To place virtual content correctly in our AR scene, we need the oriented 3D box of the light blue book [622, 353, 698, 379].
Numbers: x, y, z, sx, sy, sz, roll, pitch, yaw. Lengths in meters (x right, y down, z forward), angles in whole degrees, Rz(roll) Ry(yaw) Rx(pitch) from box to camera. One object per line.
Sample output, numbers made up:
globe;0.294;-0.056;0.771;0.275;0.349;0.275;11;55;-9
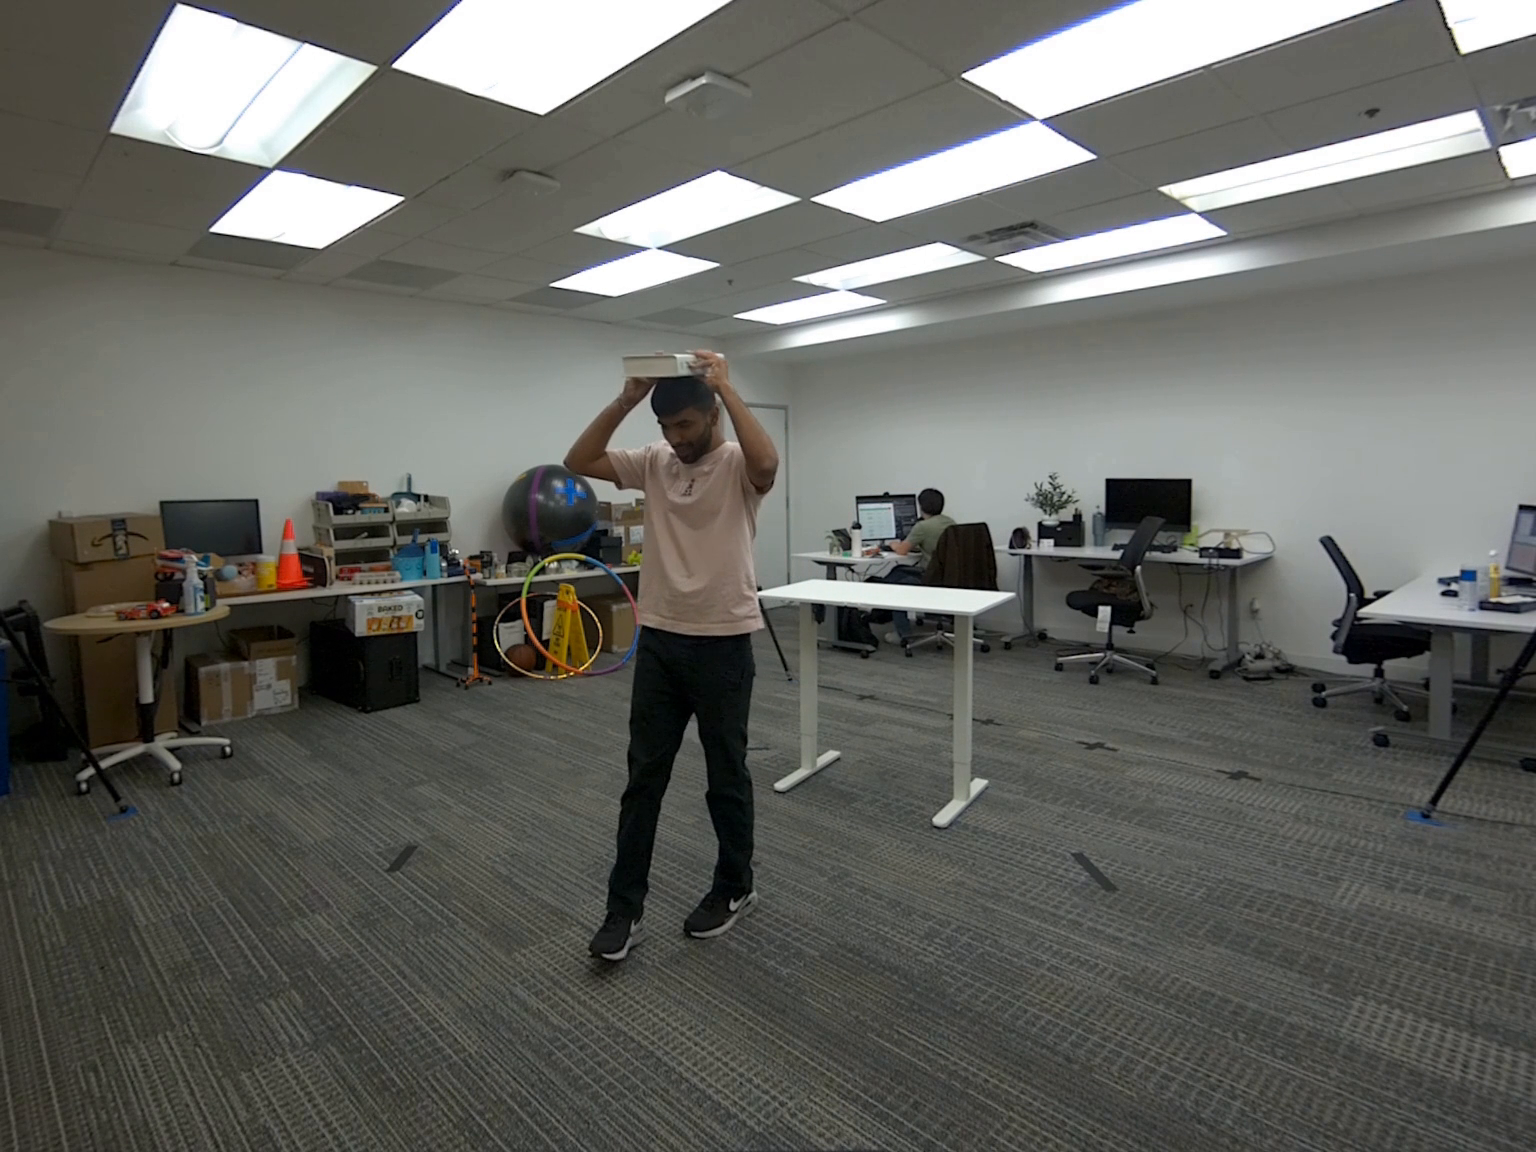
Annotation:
light blue book;-0.267;-0.603;2.452;0.196;0.058;0.257;7;16;25
